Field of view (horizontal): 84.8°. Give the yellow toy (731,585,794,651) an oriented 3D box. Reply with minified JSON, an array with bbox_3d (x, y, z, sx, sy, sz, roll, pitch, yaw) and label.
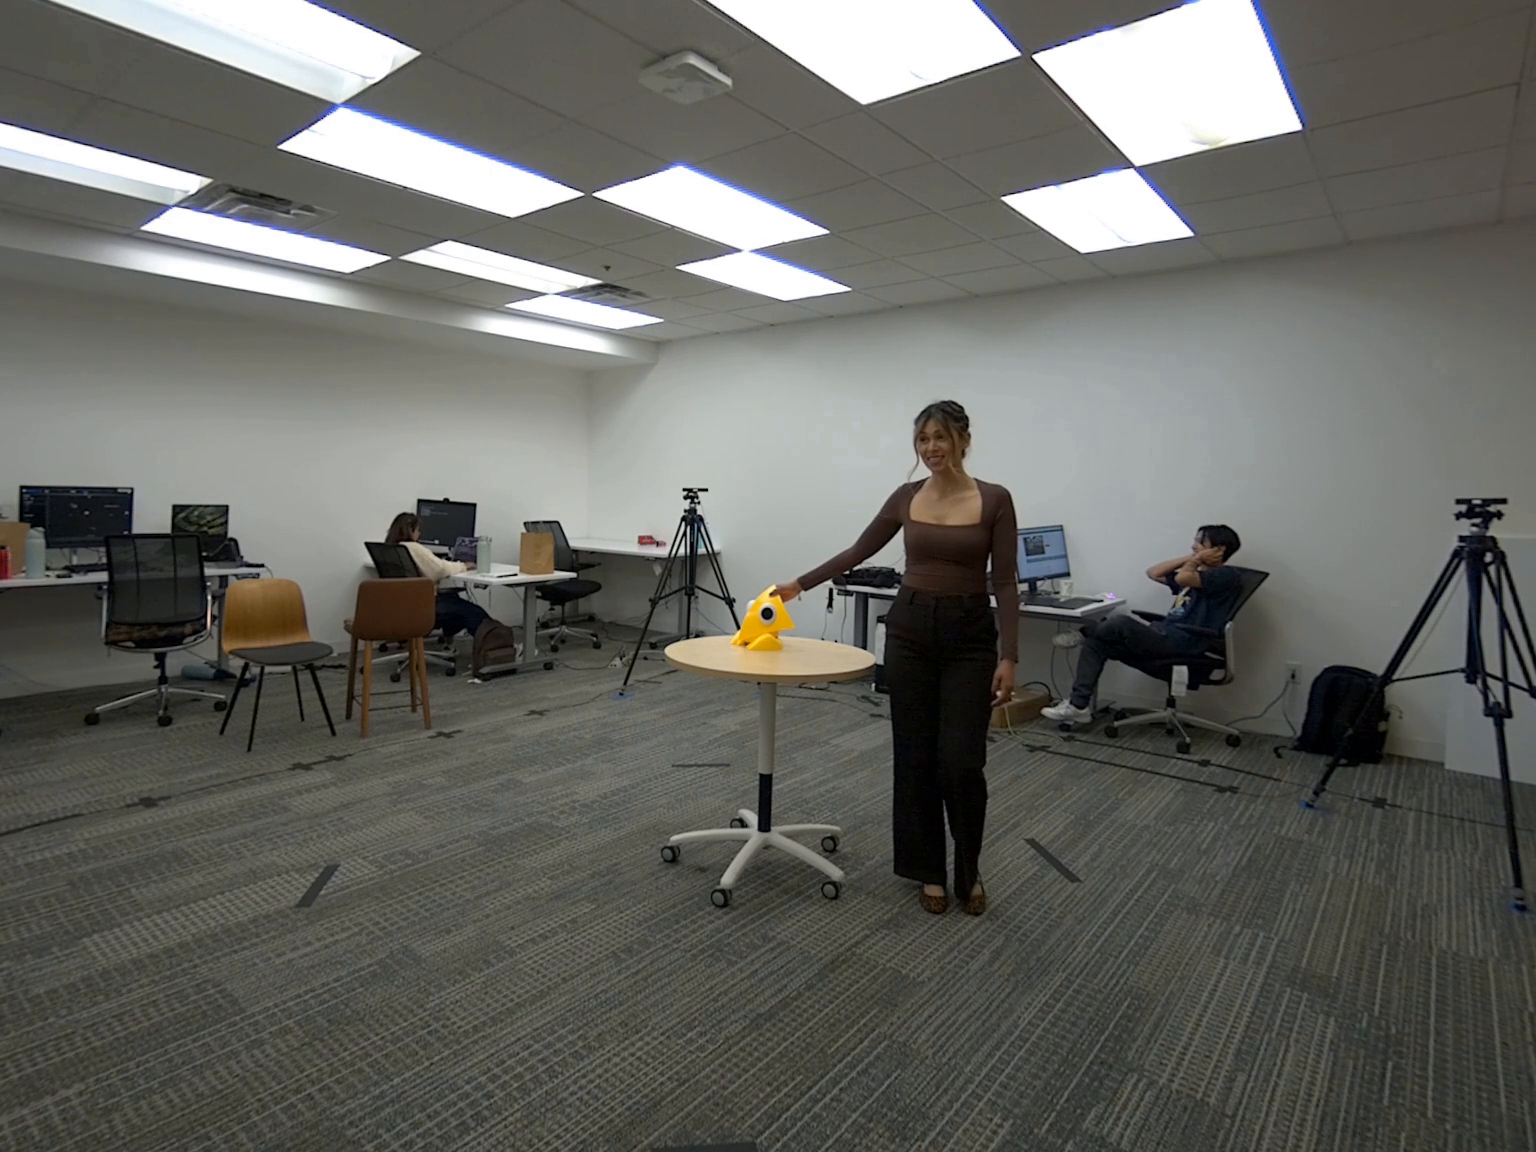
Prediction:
[{"bbox_3d":[-0.038,0.149,3.246,0.188,0.230,0.211,0,4,-31],"label":"yellow toy"}]
